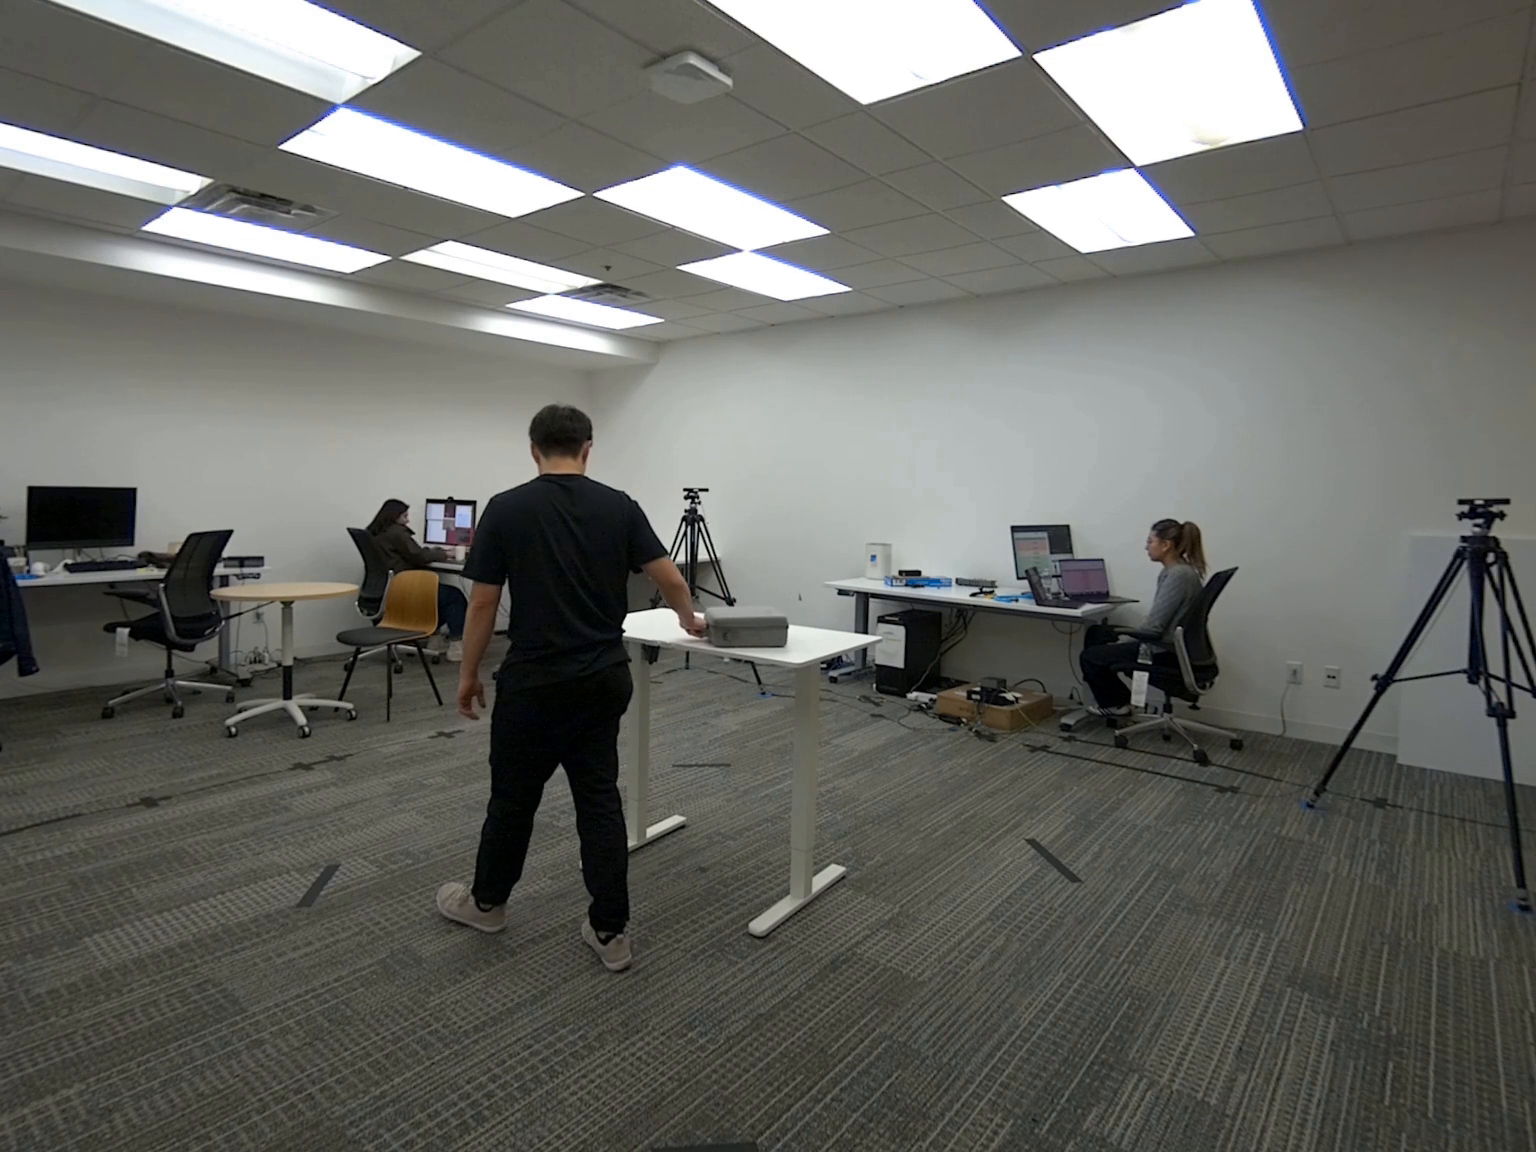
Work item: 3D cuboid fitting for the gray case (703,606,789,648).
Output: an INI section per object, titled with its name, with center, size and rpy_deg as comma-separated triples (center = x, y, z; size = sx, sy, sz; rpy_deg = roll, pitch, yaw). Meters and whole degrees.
[gray case]
center = -0.091, 0.164, 2.844
size = 0.259, 0.104, 0.260
rpy_deg = 0, 6, -8
